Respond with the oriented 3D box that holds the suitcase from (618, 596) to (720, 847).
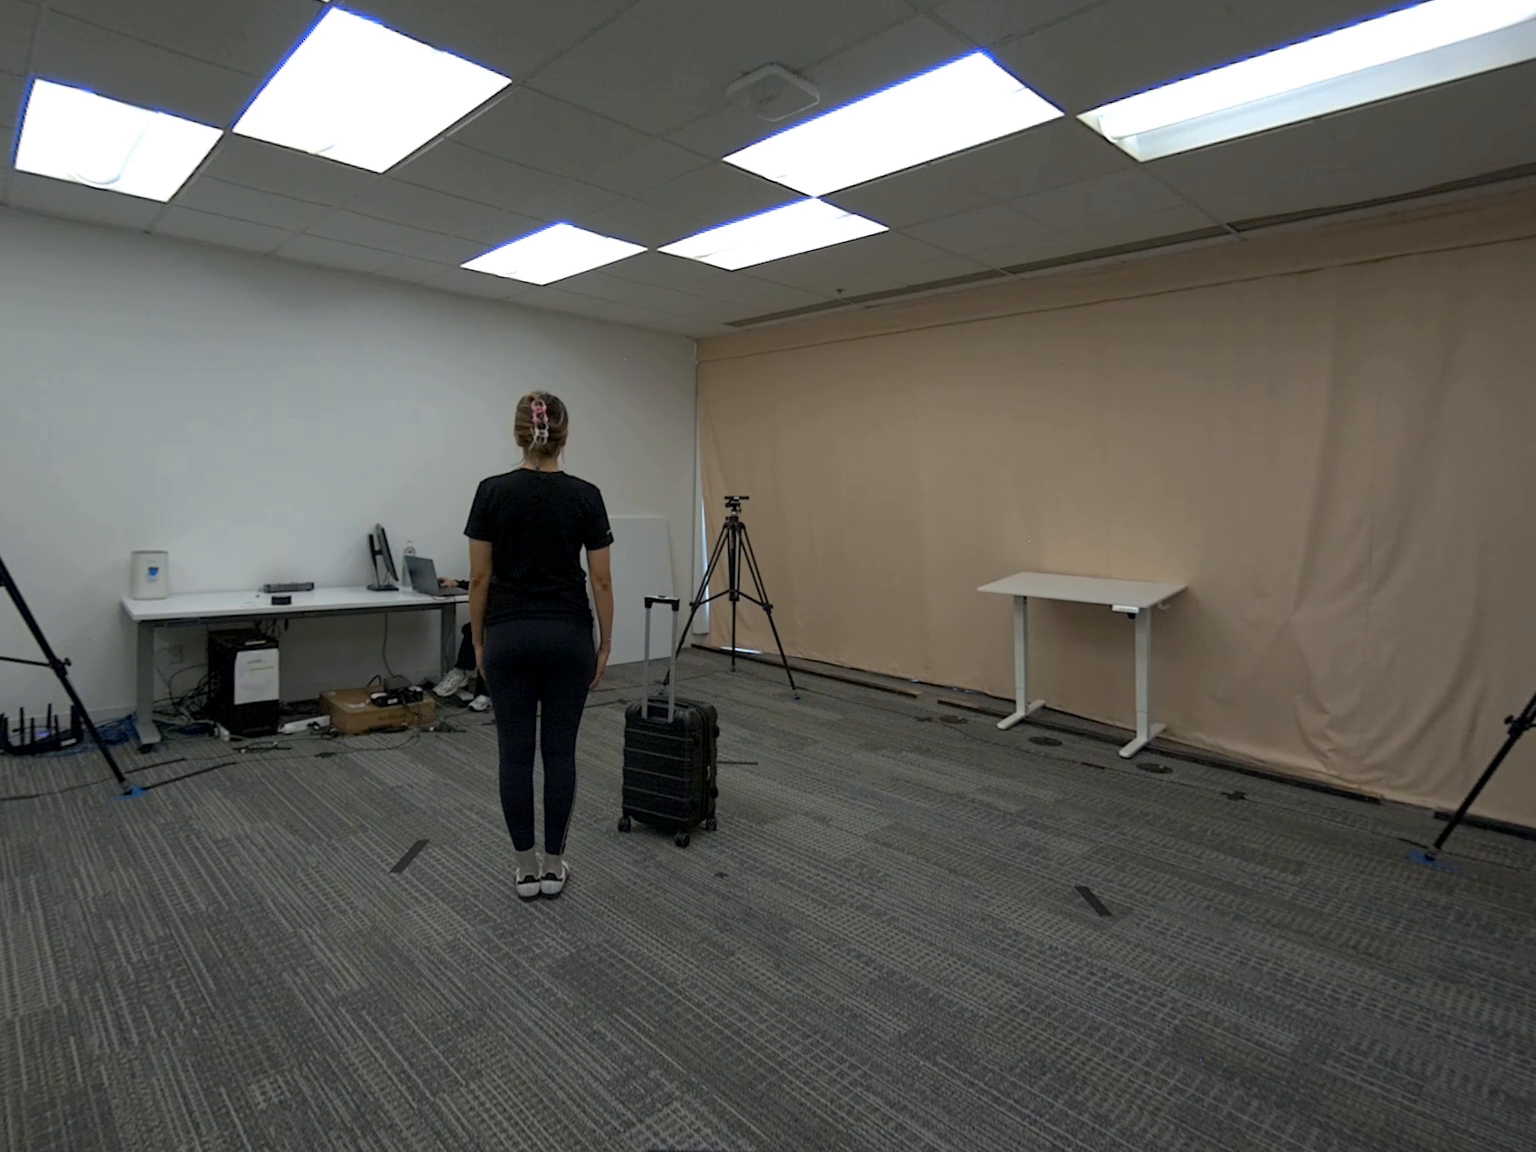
[{"bbox_3d":[-0.412,0.581,3.526,0.392,0.978,0.252,3,1,28],"label":"suitcase"}]
